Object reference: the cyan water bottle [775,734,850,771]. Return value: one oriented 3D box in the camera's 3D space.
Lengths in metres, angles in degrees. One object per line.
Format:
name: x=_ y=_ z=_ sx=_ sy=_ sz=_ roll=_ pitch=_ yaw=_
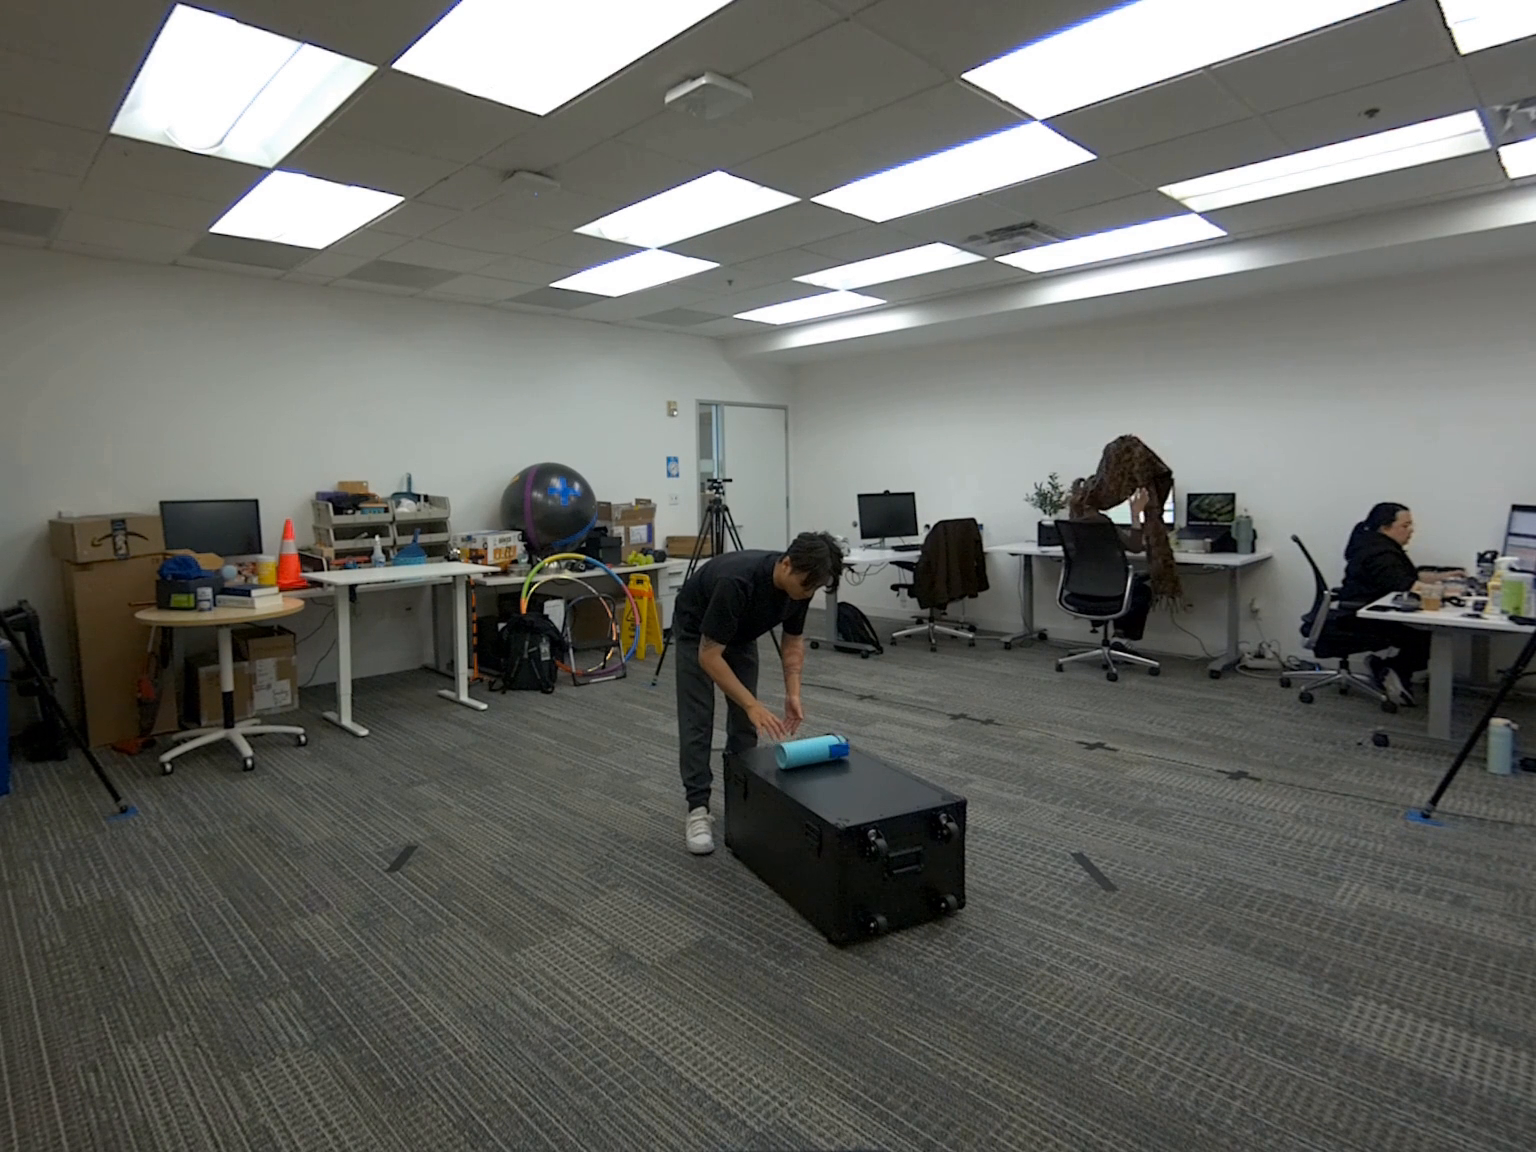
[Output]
cyan water bottle: x=0.165 y=0.618 z=3.072 sx=0.277 sy=0.092 sz=0.095 roll=-3 pitch=5 yaw=-25
